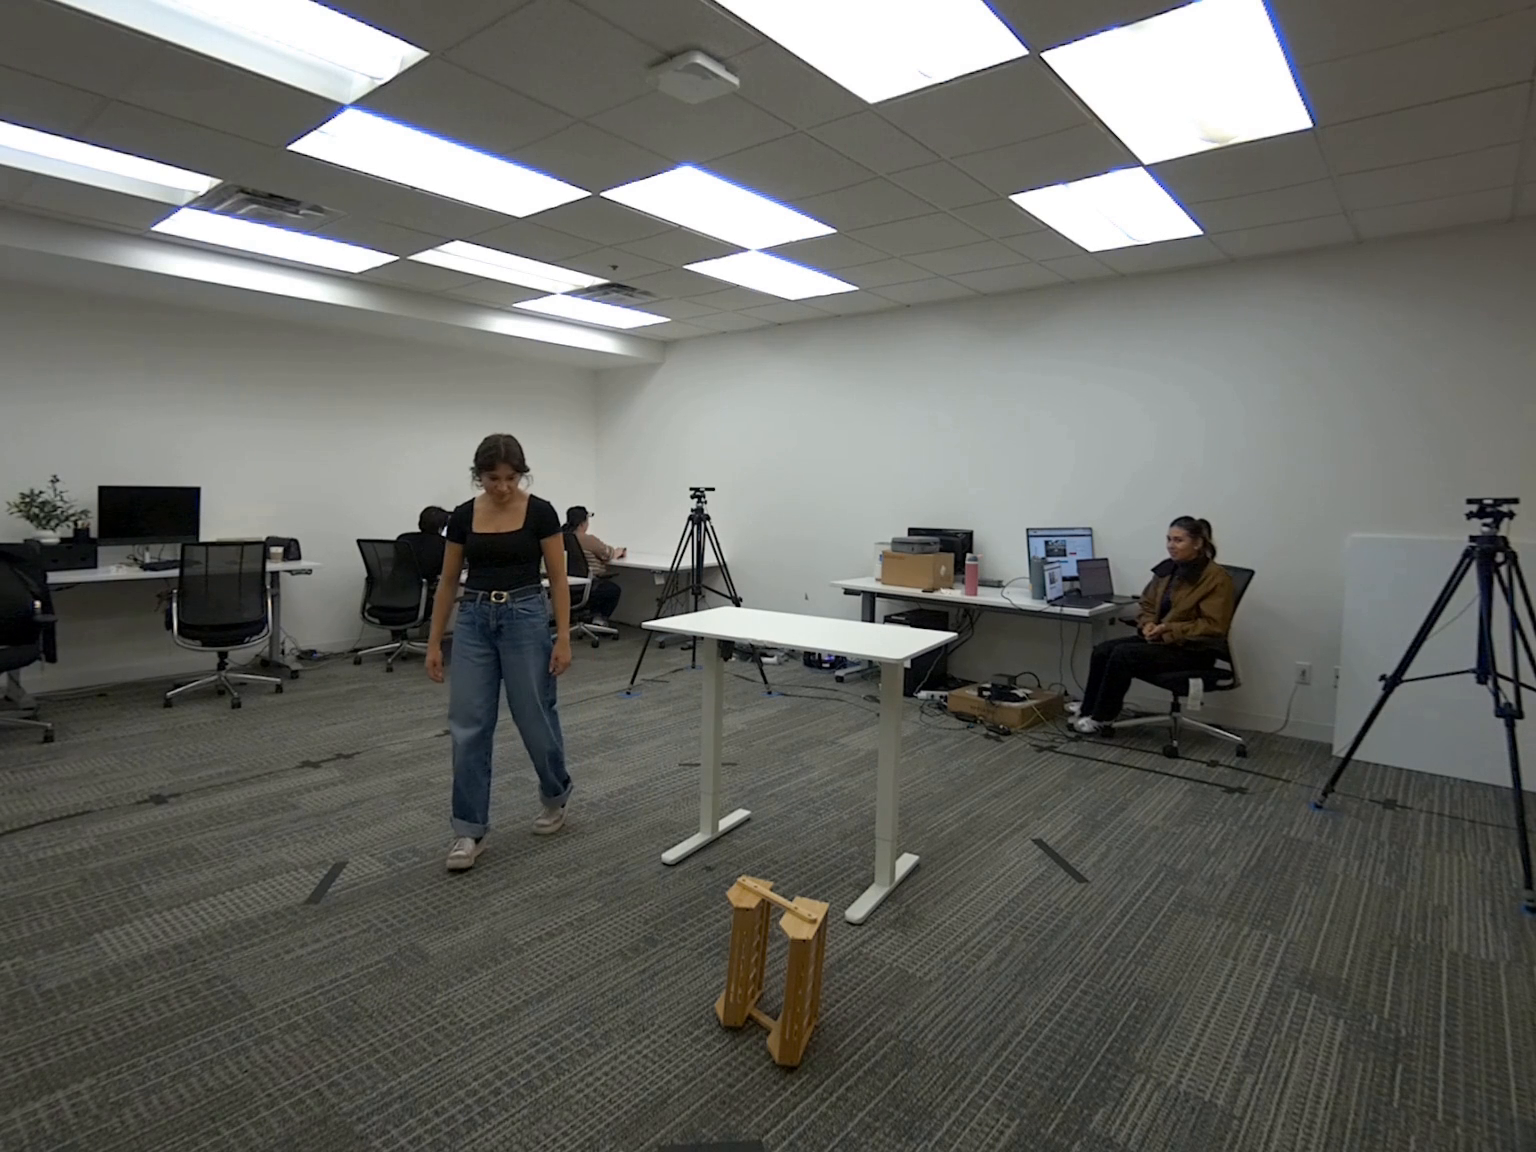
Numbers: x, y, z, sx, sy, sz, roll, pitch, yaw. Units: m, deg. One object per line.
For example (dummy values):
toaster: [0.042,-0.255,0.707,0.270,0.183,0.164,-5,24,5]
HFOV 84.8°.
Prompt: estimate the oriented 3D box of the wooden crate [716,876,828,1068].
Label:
wooden crate: [-0.011,0.997,2.190,0.279,0.325,0.296,6,0,17]
